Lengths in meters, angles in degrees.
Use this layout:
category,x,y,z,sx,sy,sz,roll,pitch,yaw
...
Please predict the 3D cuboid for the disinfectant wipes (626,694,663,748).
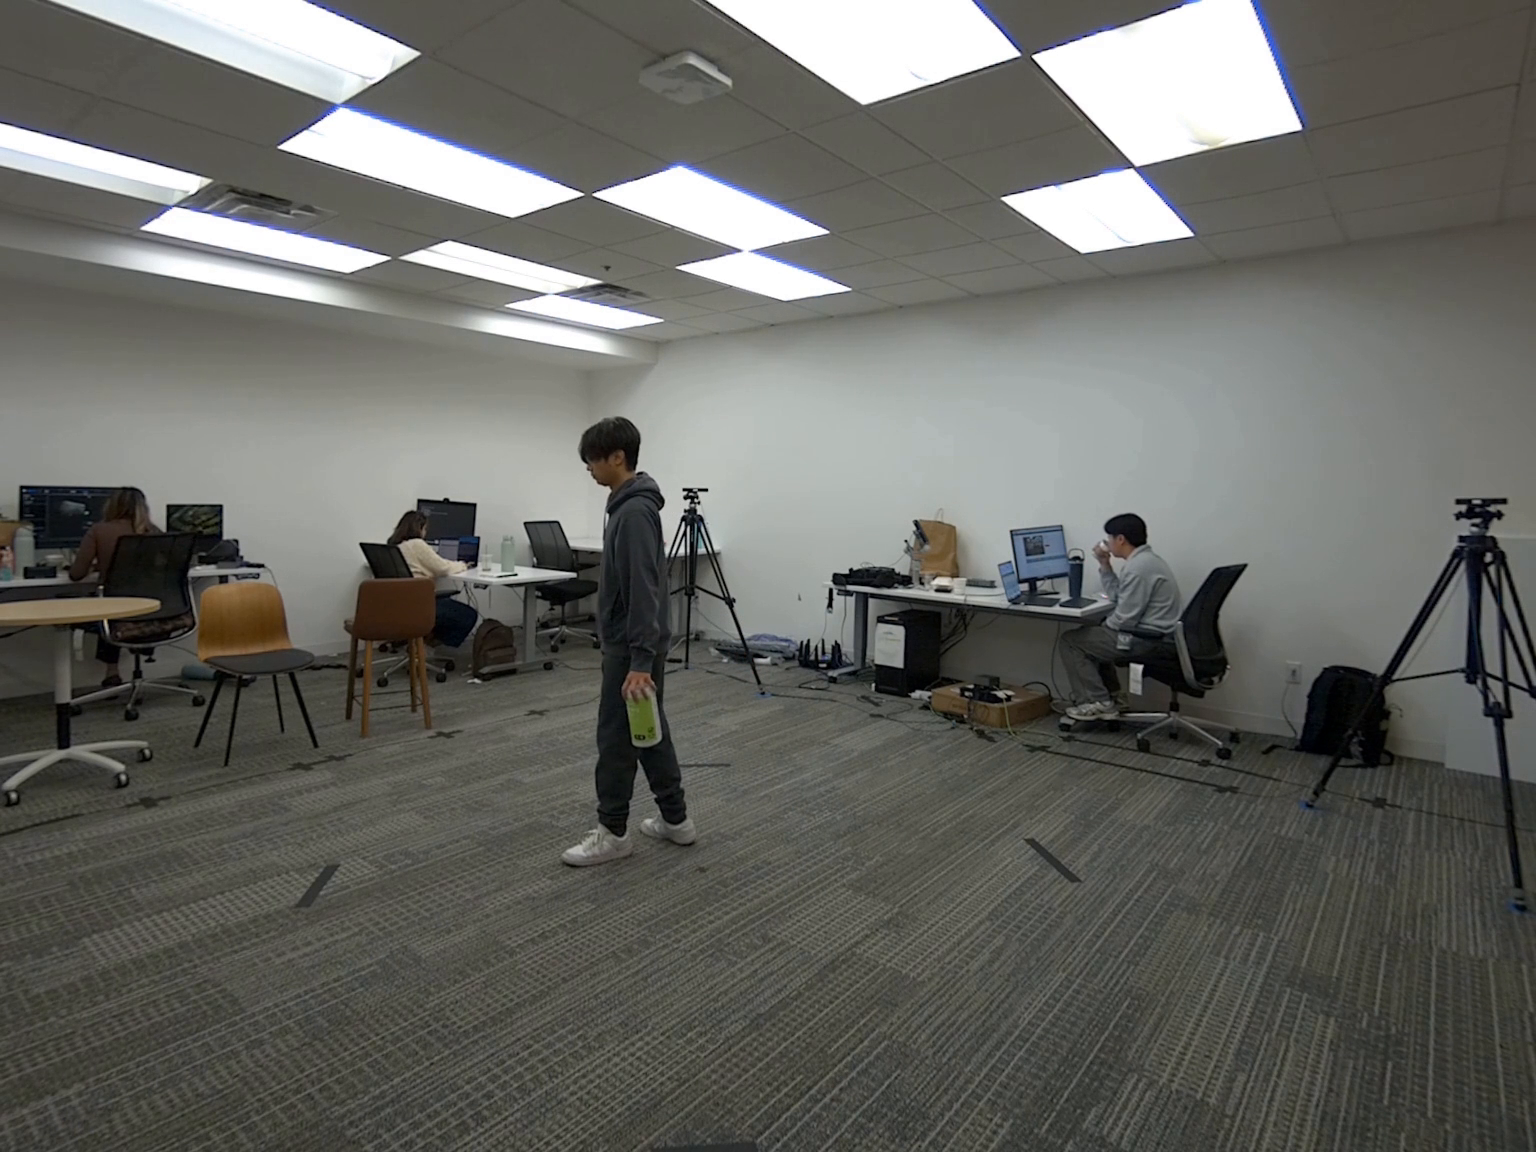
category,x,y,z,sx,sy,sz,roll,pitch,yaw
disinfectant wipes,-0.460,0.488,3.039,0.118,0.215,0.119,-7,9,-1
